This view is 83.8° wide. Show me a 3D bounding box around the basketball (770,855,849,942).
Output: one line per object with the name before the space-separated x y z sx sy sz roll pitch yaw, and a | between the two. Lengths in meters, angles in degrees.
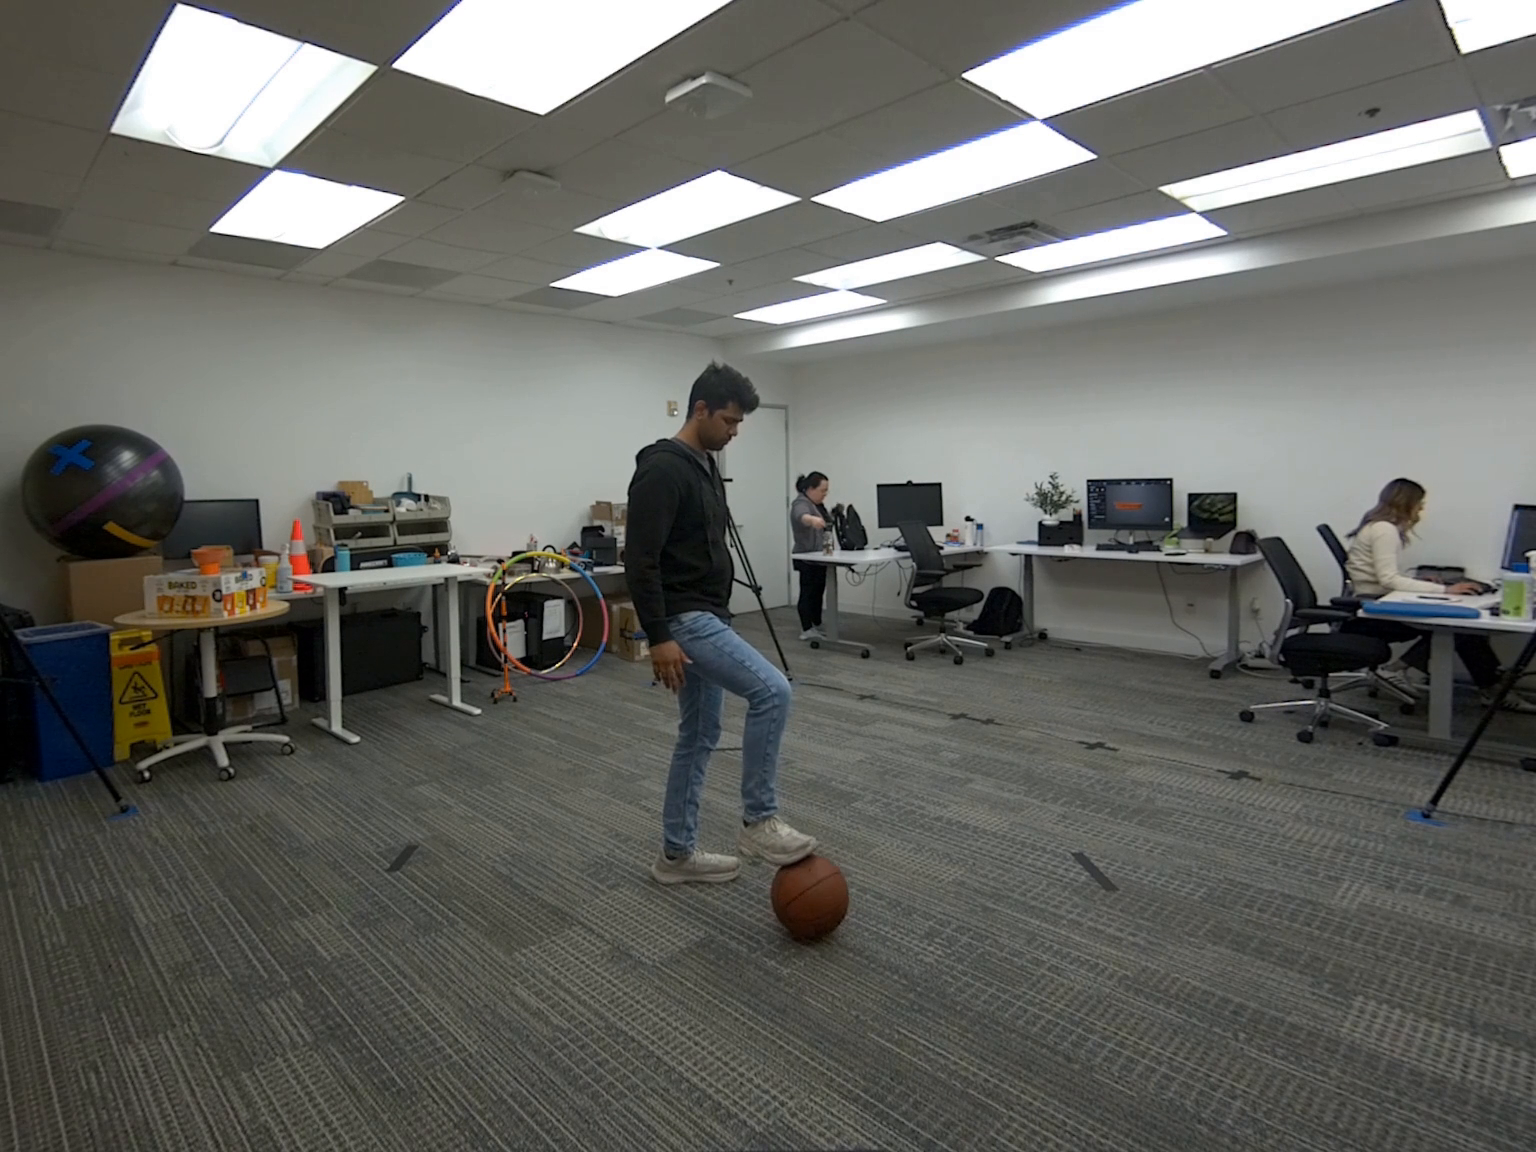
basketball | 0.136 0.981 2.614 0.236 0.235 0.237 -1 5 -2
